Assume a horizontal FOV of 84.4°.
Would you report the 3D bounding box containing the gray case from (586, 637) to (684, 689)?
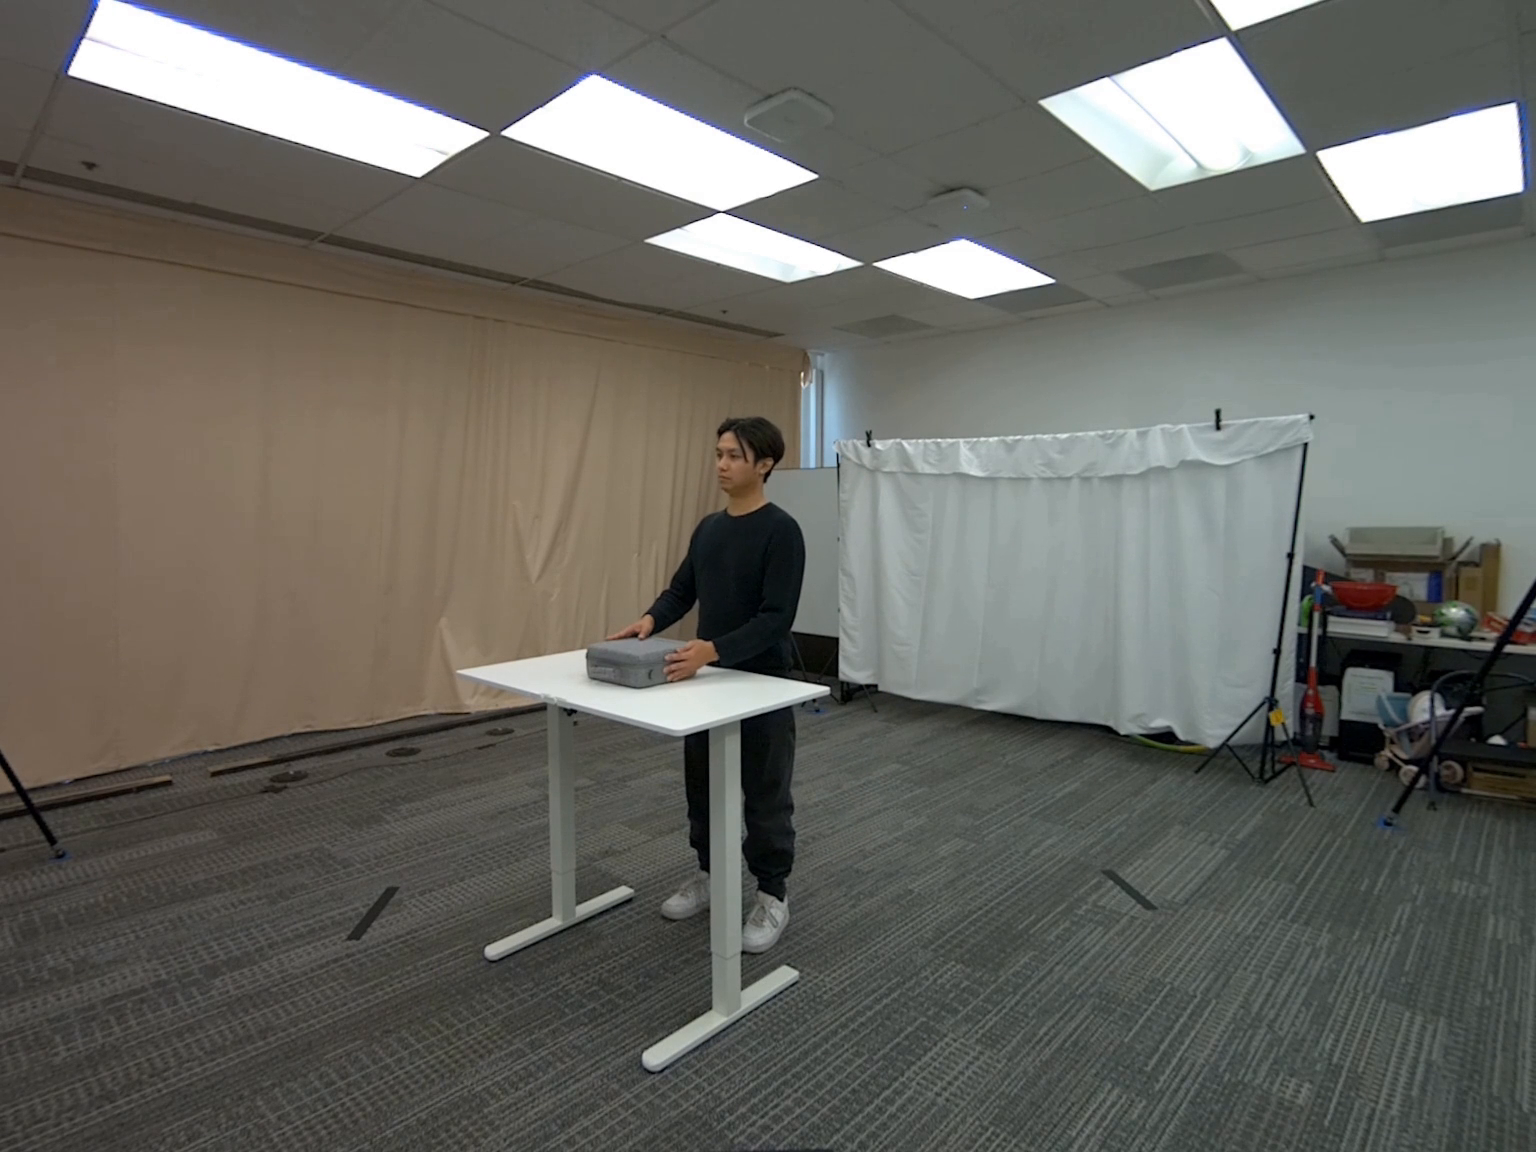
[{"bbox_3d":[-0.374,0.256,2.498,0.265,0.104,0.253,5,8,39],"label":"gray case"}]
